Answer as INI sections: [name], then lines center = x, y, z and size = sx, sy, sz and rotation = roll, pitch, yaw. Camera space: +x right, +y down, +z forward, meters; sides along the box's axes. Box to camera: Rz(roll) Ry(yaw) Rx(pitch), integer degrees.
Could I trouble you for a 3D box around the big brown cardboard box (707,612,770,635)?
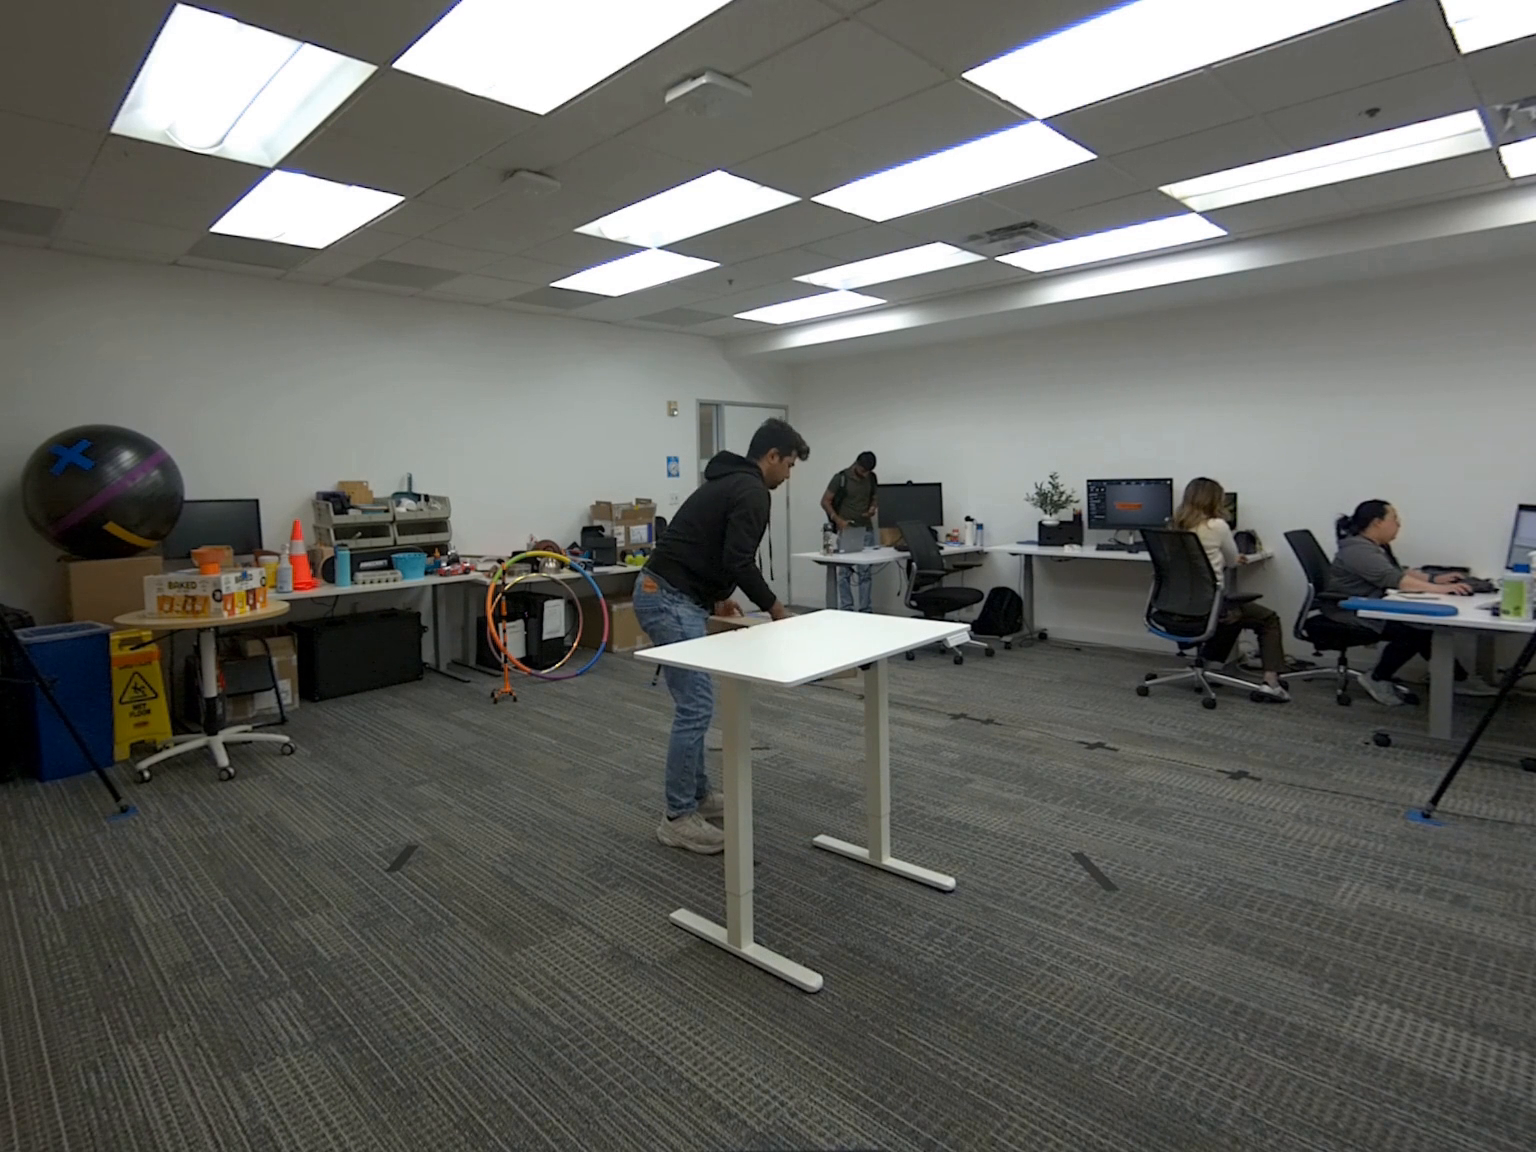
[big brown cardboard box]
center = 0.051, 0.297, 3.639
size = 0.407, 0.233, 0.604
rotation = -3, 3, -30
